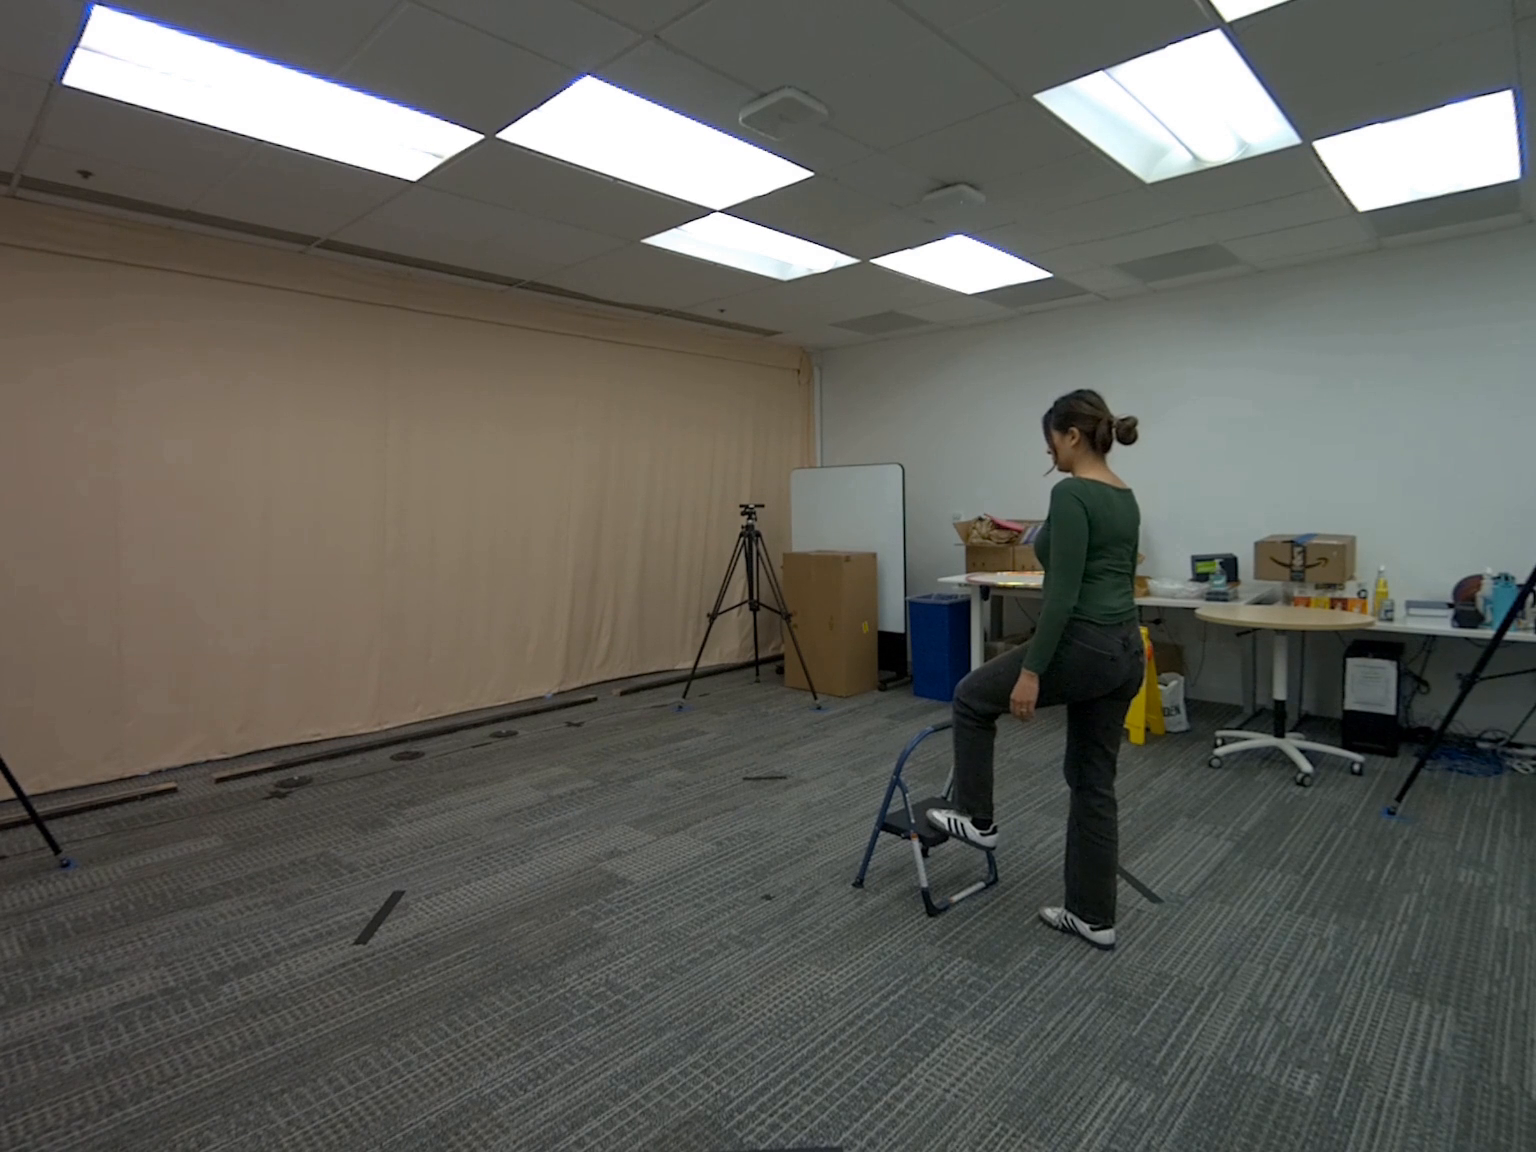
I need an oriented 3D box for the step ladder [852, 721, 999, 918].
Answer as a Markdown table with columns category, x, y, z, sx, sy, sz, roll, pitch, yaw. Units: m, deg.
| category | x | y | z | sx | sy | sz | roll | pitch | yaw |
| --- | --- | --- | --- | --- | --- | --- | --- | --- | --- |
| step ladder | 0.577 | 0.819 | 3.053 | 0.417 | 0.605 | 0.361 | -4 | 5 | -43 |
